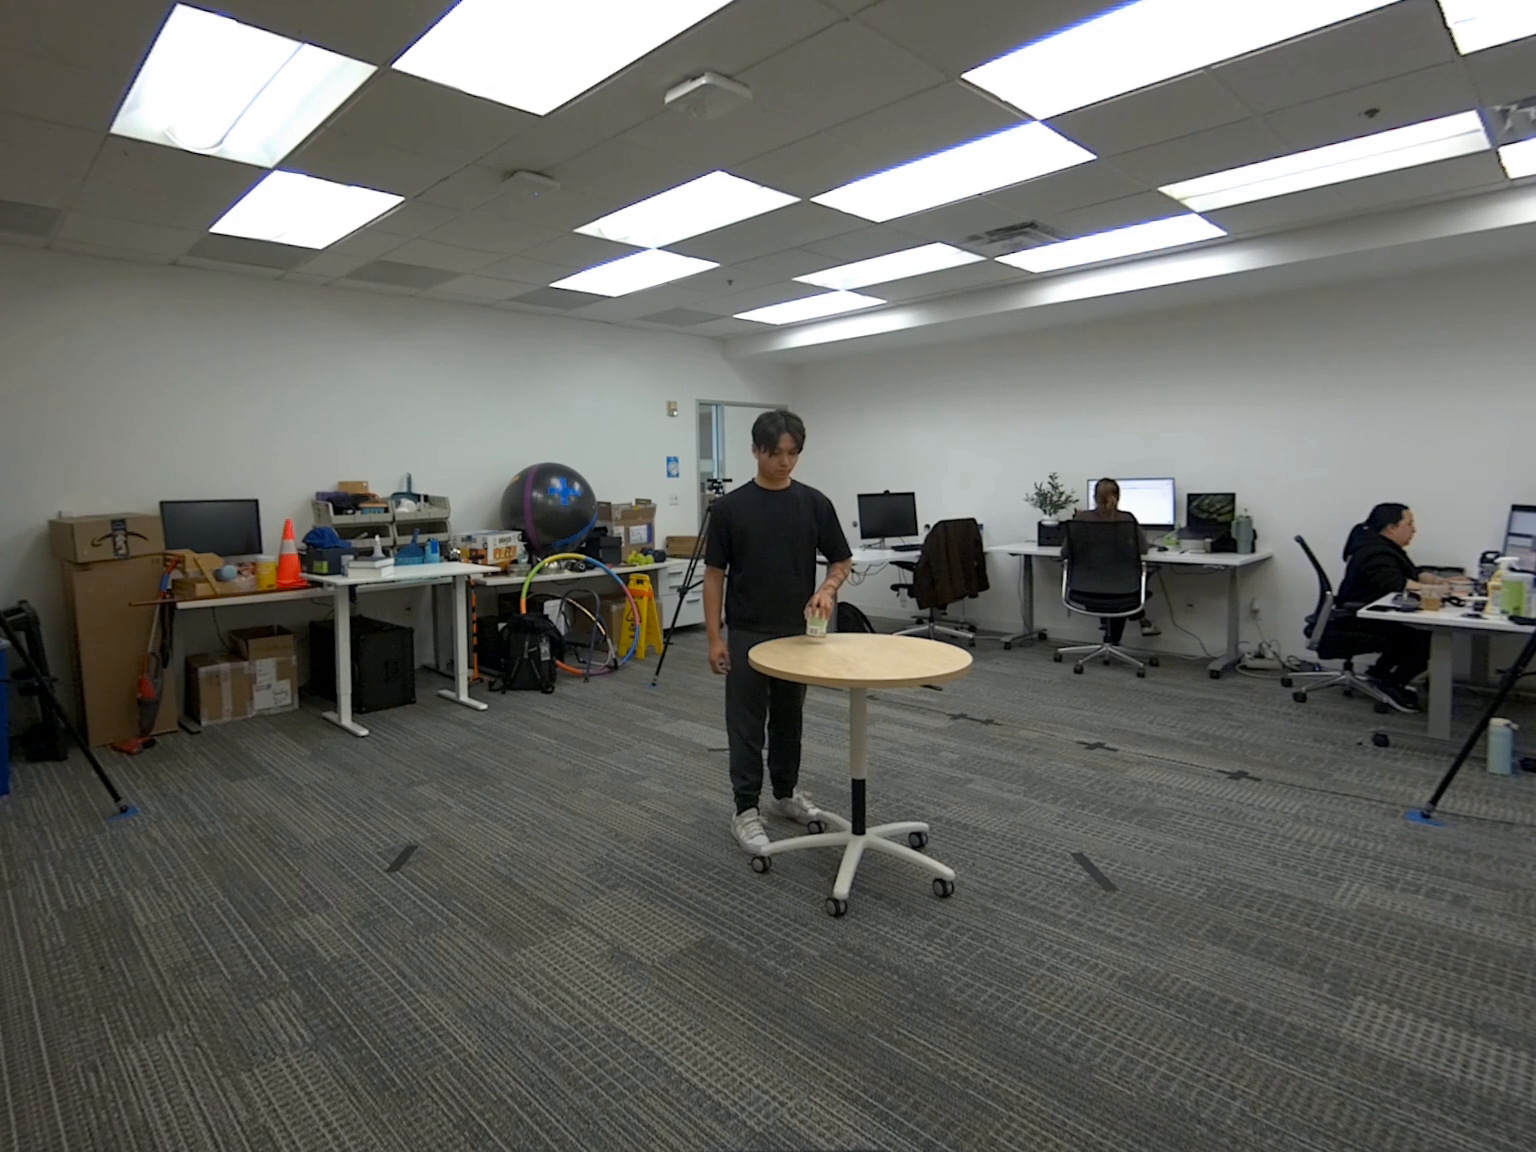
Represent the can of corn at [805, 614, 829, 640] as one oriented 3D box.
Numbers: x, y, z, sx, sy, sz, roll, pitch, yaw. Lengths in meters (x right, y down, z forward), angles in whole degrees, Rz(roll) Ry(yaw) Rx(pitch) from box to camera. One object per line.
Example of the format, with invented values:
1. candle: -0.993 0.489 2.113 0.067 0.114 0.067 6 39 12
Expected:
1. can of corn: 0.202 0.171 3.168 0.074 0.111 0.074 3 4 -2
